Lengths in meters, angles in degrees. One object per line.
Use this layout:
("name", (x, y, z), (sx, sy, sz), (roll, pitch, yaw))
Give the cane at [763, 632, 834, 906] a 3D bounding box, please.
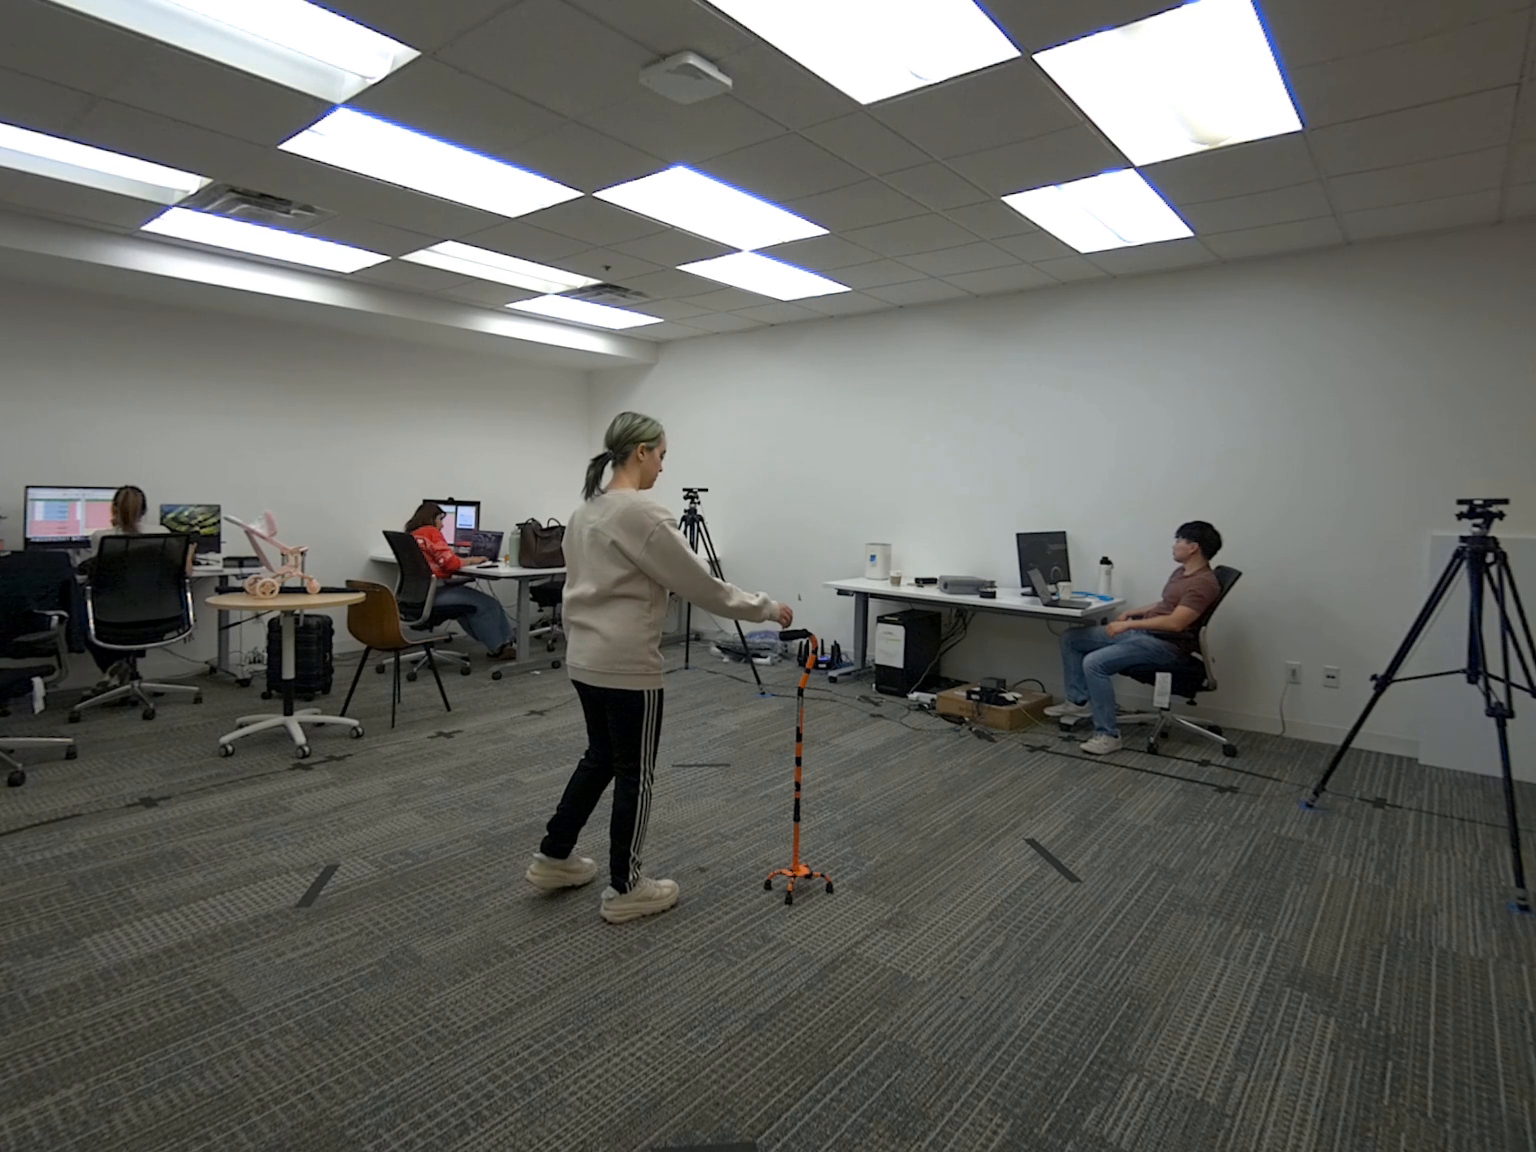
("cane", (0.107, 0.641, 2.939), (0.201, 0.905, 0.156), (-1, 4, -32))
